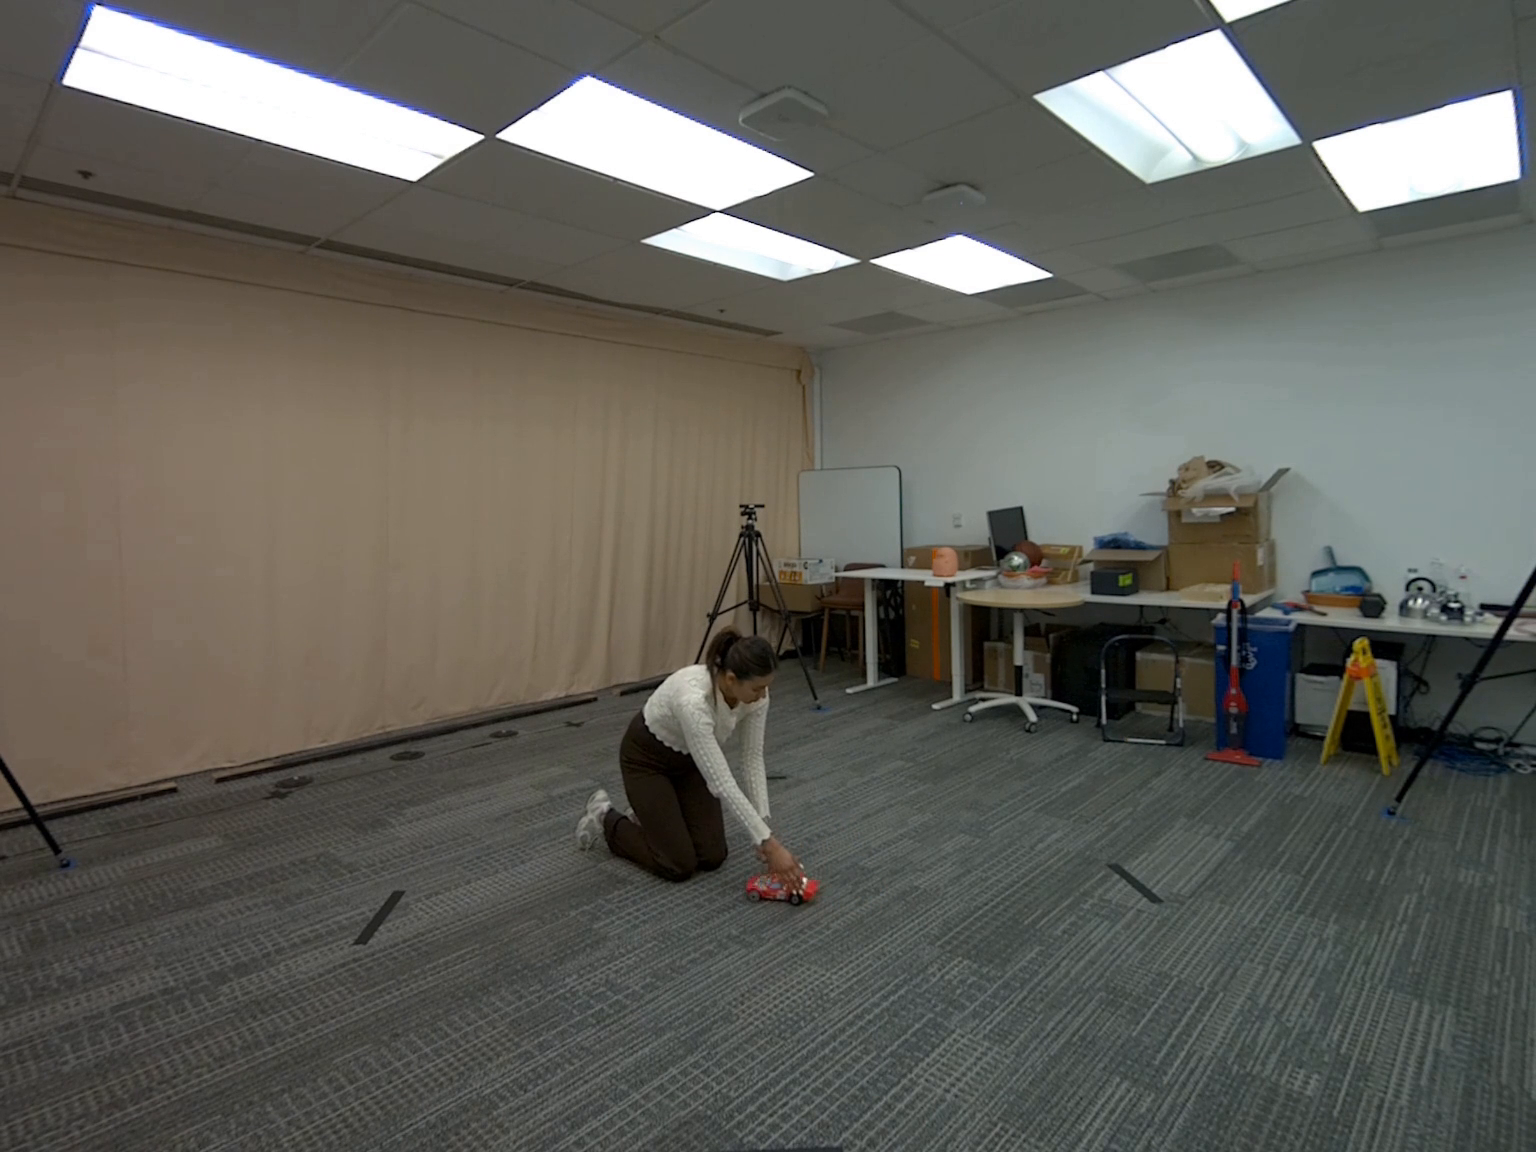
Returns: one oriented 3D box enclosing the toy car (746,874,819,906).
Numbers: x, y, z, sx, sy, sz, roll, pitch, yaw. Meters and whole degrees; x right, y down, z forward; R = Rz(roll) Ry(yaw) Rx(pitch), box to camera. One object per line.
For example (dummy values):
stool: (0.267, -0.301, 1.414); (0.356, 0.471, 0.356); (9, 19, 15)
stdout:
toy car: (0.066, 1.106, 2.977); (0.258, 0.083, 0.129); (-11, 5, 13)
